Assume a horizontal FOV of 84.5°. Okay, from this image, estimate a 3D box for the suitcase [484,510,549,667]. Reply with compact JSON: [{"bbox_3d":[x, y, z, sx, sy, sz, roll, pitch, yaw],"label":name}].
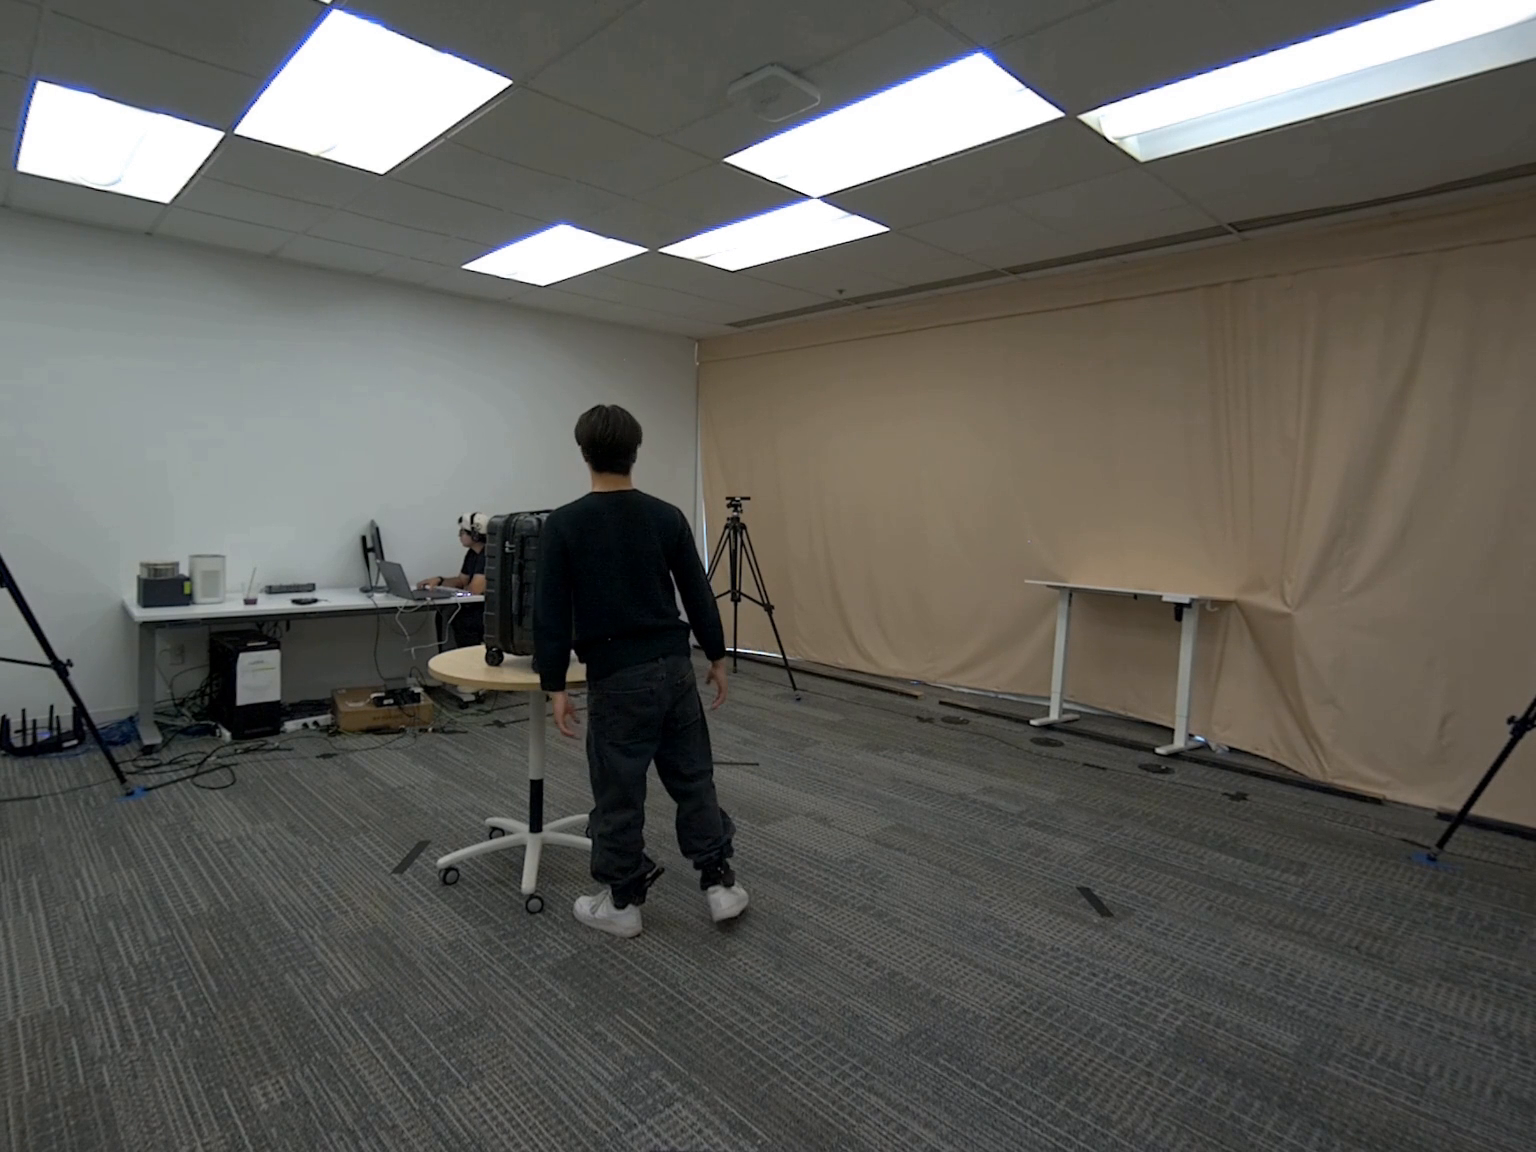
[{"bbox_3d":[-0.832,0.036,3.044,0.253,0.548,0.369,2,4,25],"label":"suitcase"}]
